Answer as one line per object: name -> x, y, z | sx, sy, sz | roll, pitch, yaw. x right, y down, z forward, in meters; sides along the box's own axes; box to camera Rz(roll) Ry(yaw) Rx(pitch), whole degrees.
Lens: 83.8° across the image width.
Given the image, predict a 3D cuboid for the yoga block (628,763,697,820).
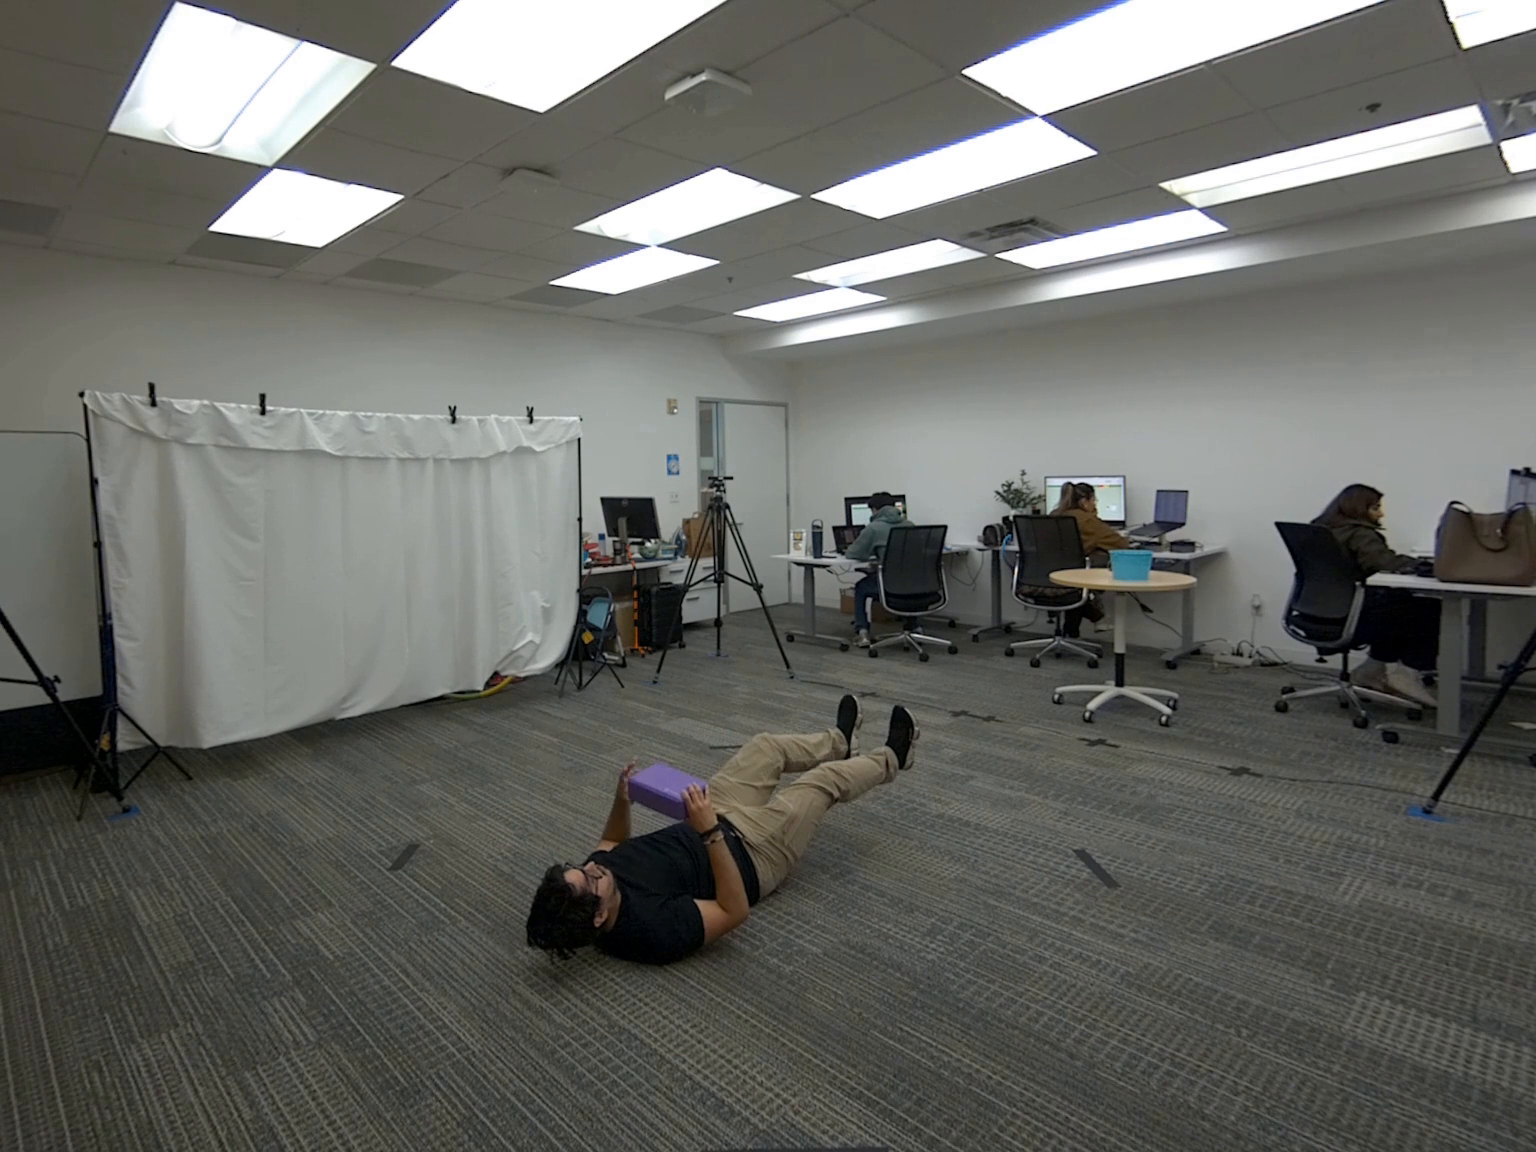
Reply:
yoga block -> -0.311, 0.677, 2.683 | 0.236, 0.075, 0.146 | 9, 17, 34
